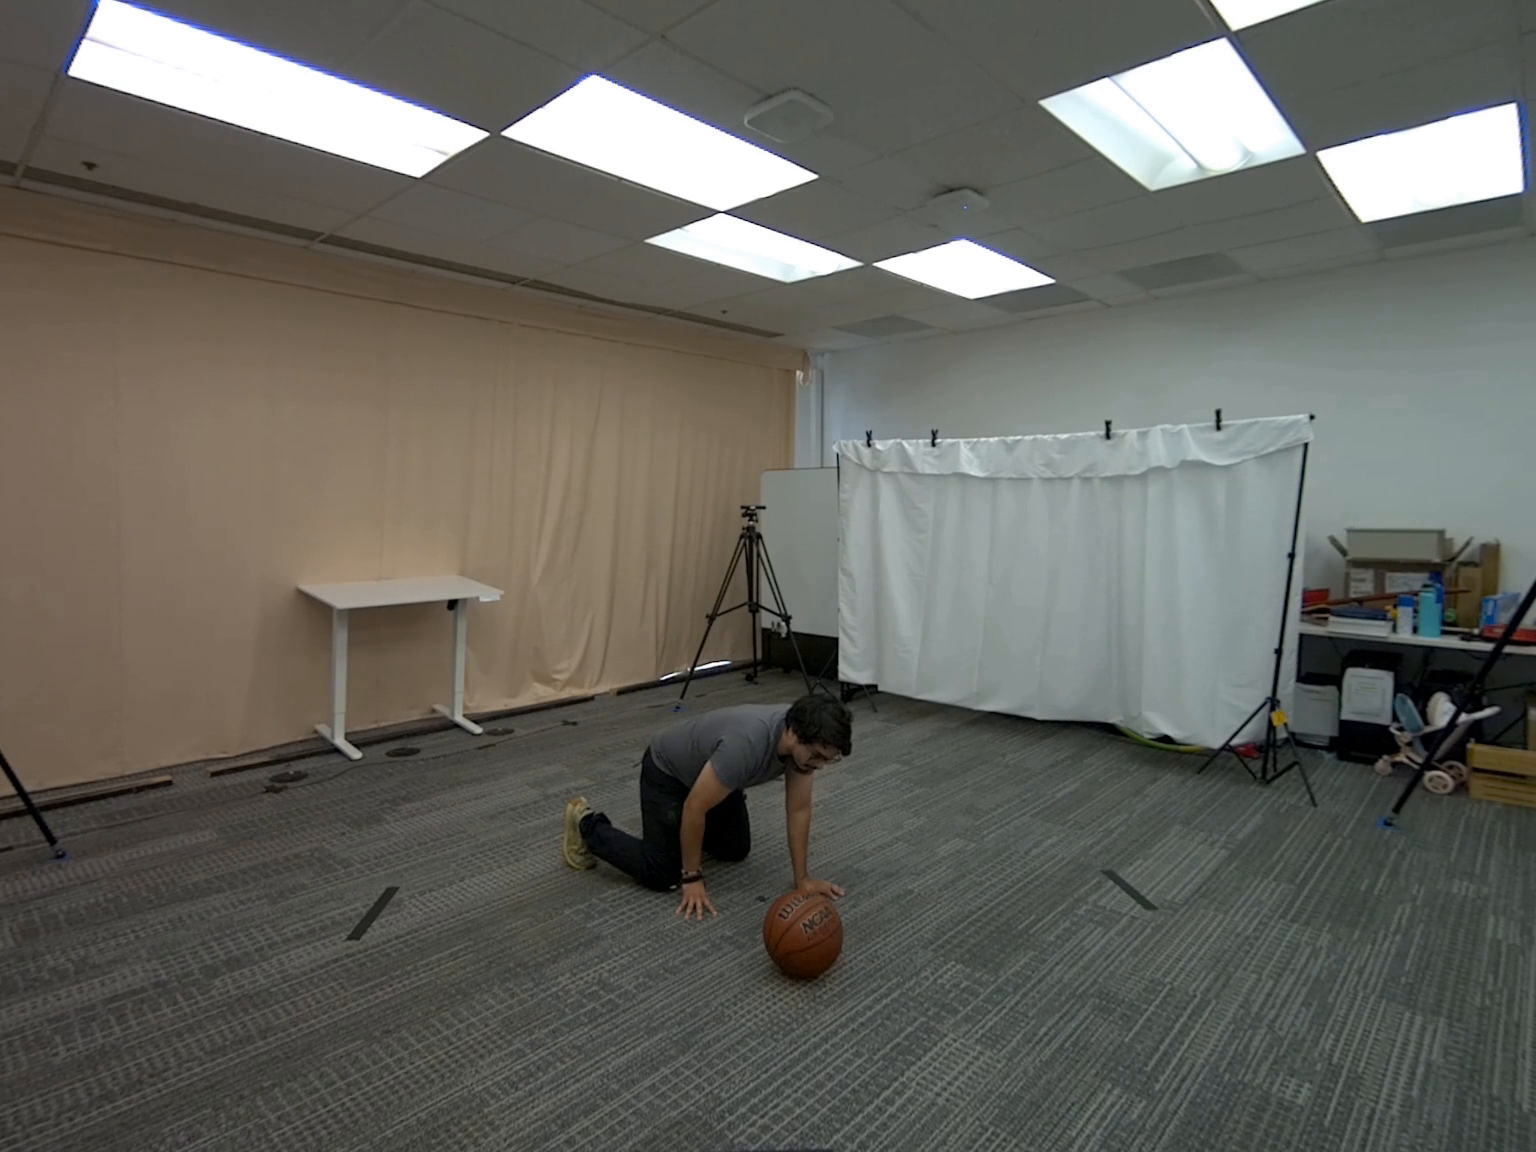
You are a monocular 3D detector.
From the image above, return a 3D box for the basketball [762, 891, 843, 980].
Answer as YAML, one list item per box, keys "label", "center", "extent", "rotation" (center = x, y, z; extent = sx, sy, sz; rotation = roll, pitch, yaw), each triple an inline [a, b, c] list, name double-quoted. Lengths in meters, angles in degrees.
- label: "basketball"
  center: [0.107, 1.064, 2.503]
  extent: [0.236, 0.235, 0.237]
  rotation: [0, 4, -2]
